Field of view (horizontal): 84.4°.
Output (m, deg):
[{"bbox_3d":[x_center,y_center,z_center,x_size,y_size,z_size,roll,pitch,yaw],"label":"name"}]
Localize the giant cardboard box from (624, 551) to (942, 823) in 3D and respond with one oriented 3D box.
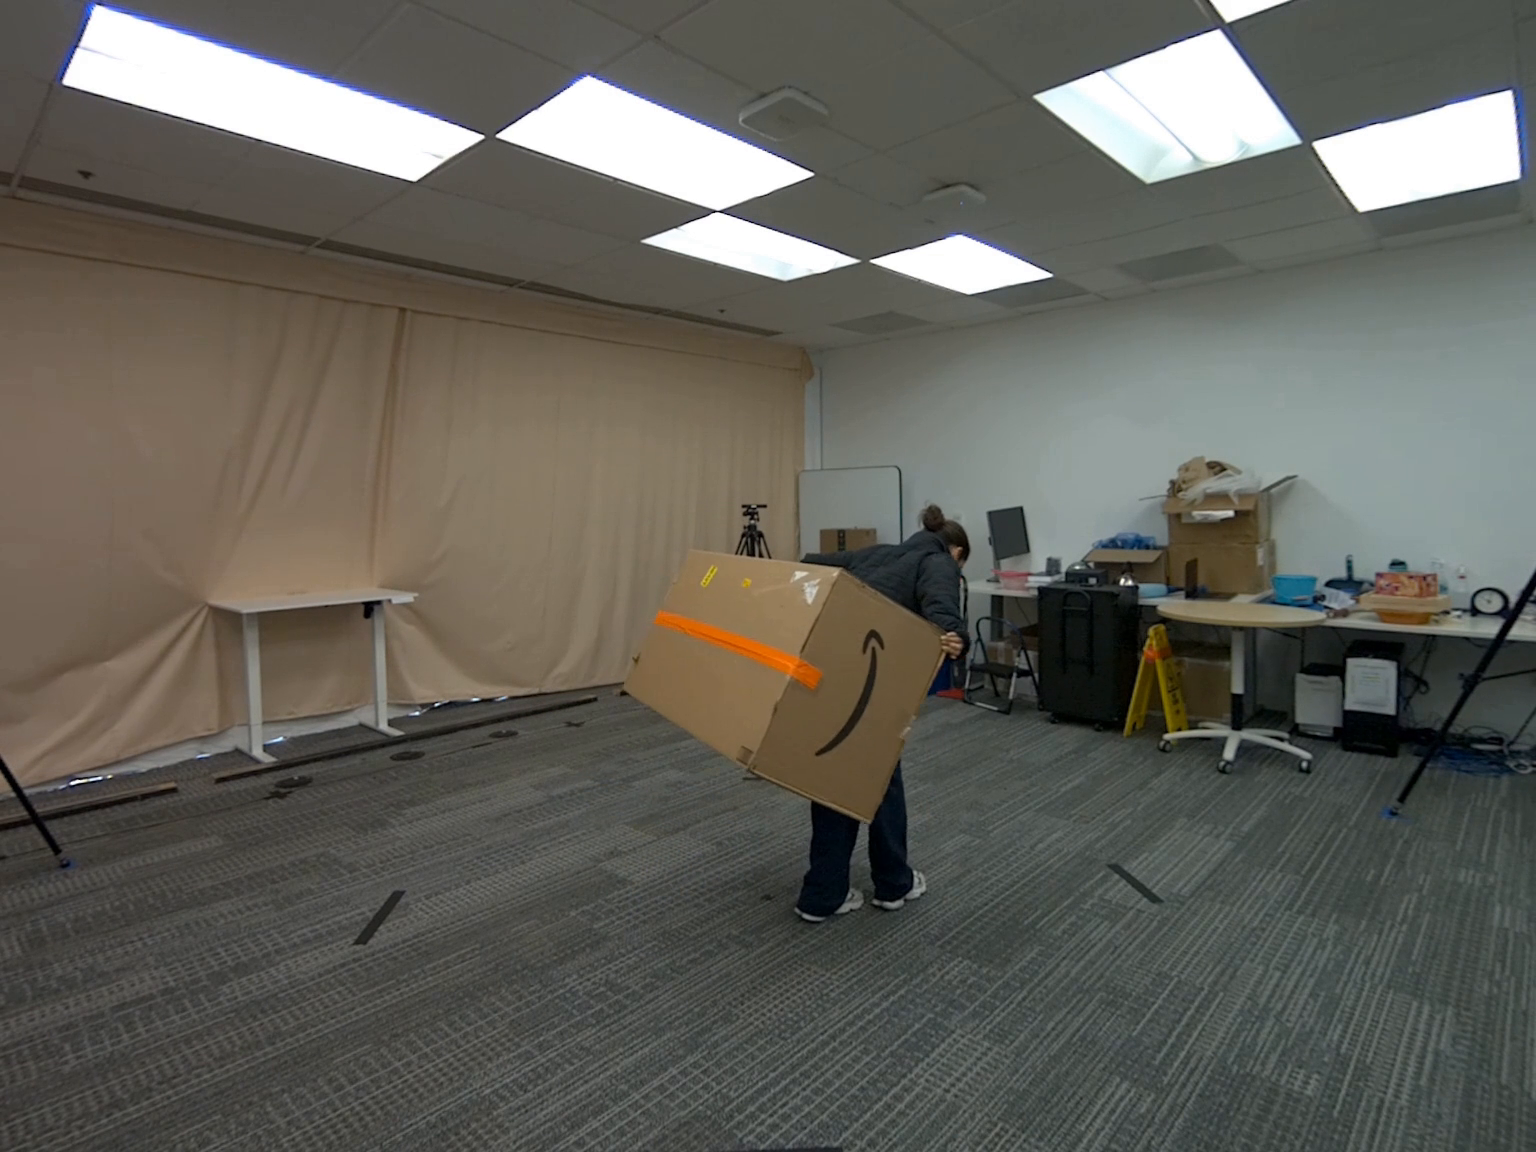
[{"bbox_3d":[0.009,0.291,2.713,0.414,0.578,1.055,30,-10,-27],"label":"giant cardboard box"}]
